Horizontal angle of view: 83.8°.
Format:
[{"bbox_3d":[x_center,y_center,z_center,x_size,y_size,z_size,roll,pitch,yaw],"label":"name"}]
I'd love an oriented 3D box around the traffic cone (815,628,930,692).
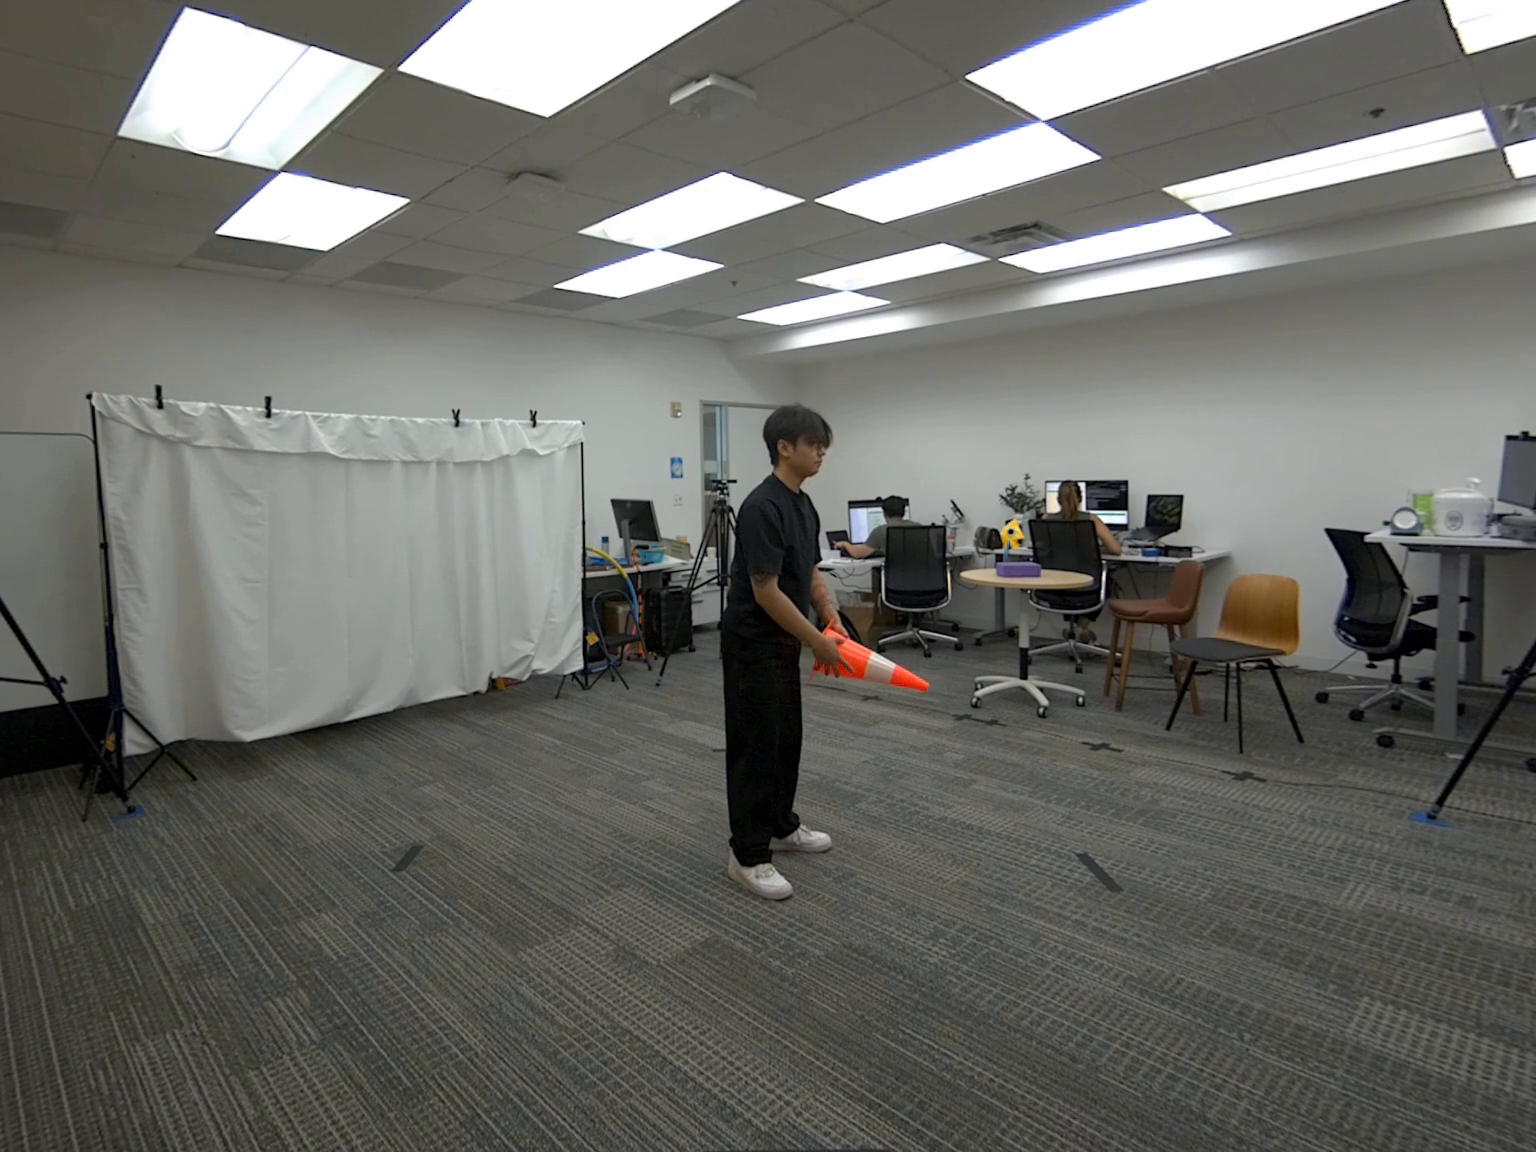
[{"bbox_3d":[0.362,0.326,2.939,0.391,0.202,0.202,19,20,15],"label":"traffic cone"}]
